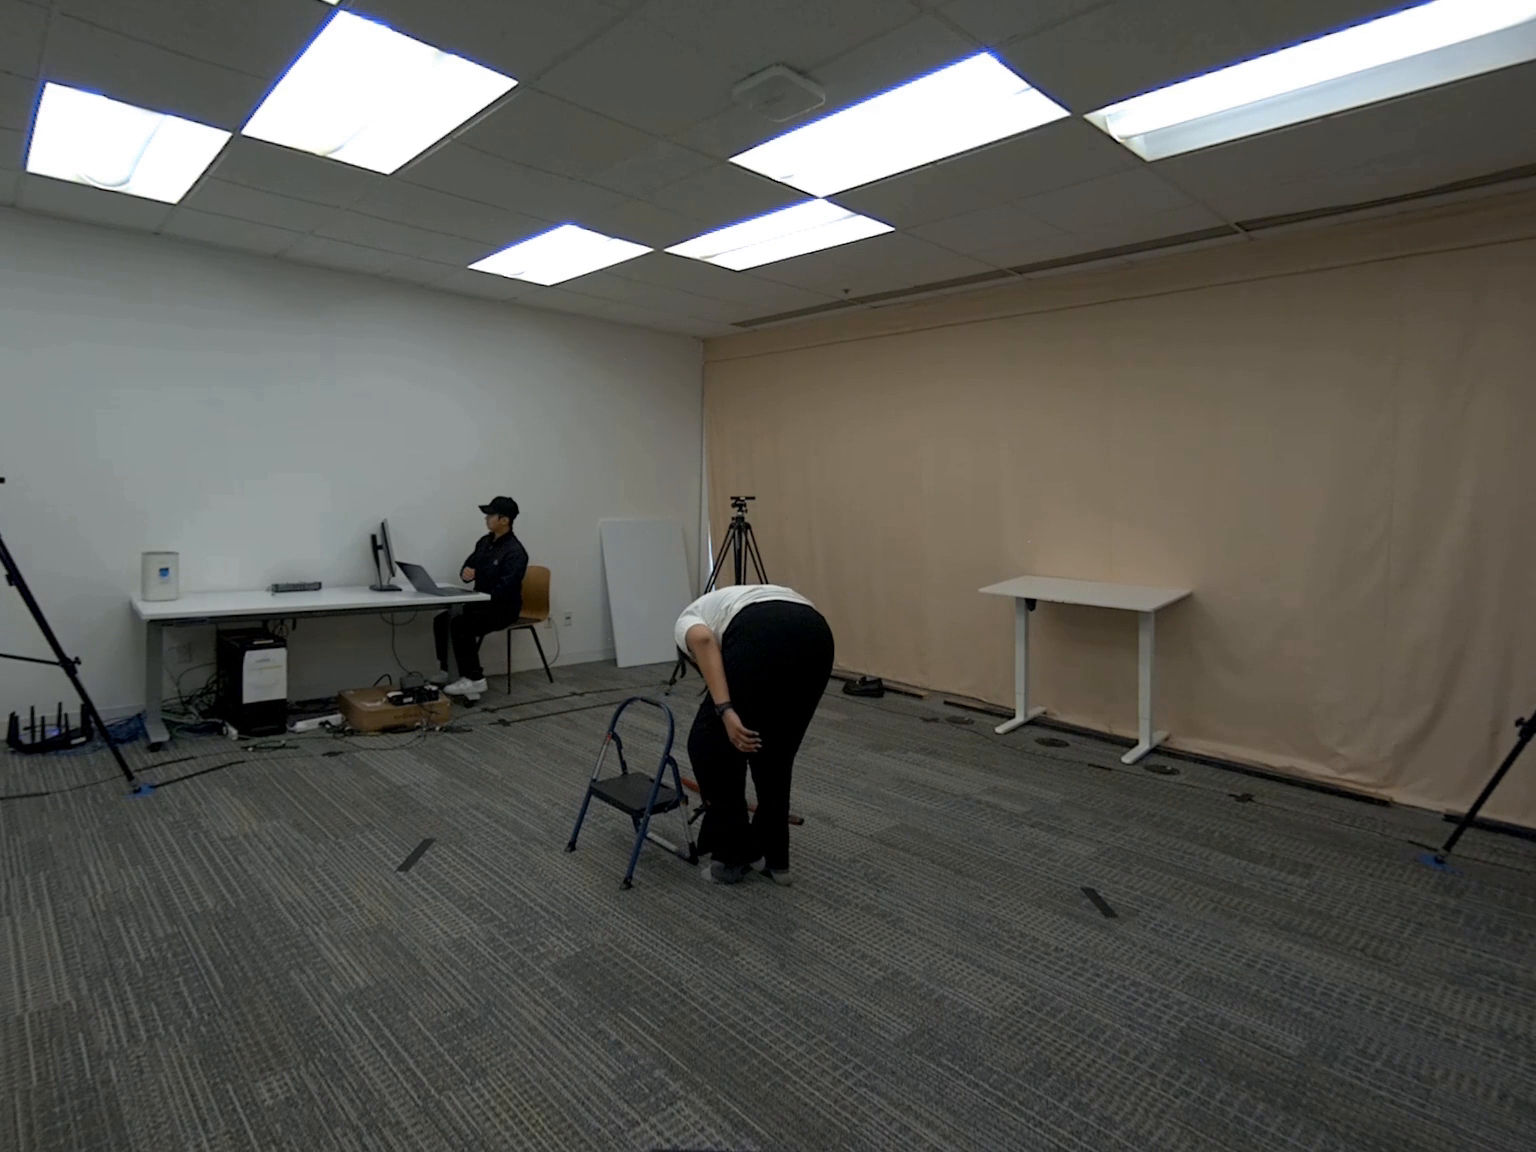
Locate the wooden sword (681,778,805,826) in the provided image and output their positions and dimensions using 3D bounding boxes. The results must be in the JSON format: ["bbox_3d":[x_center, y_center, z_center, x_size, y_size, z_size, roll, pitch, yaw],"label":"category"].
[{"bbox_3d":[-0.169,0.990,3.699,0.050,0.024,1.044,41,-21,-24],"label":"wooden sword"}]
